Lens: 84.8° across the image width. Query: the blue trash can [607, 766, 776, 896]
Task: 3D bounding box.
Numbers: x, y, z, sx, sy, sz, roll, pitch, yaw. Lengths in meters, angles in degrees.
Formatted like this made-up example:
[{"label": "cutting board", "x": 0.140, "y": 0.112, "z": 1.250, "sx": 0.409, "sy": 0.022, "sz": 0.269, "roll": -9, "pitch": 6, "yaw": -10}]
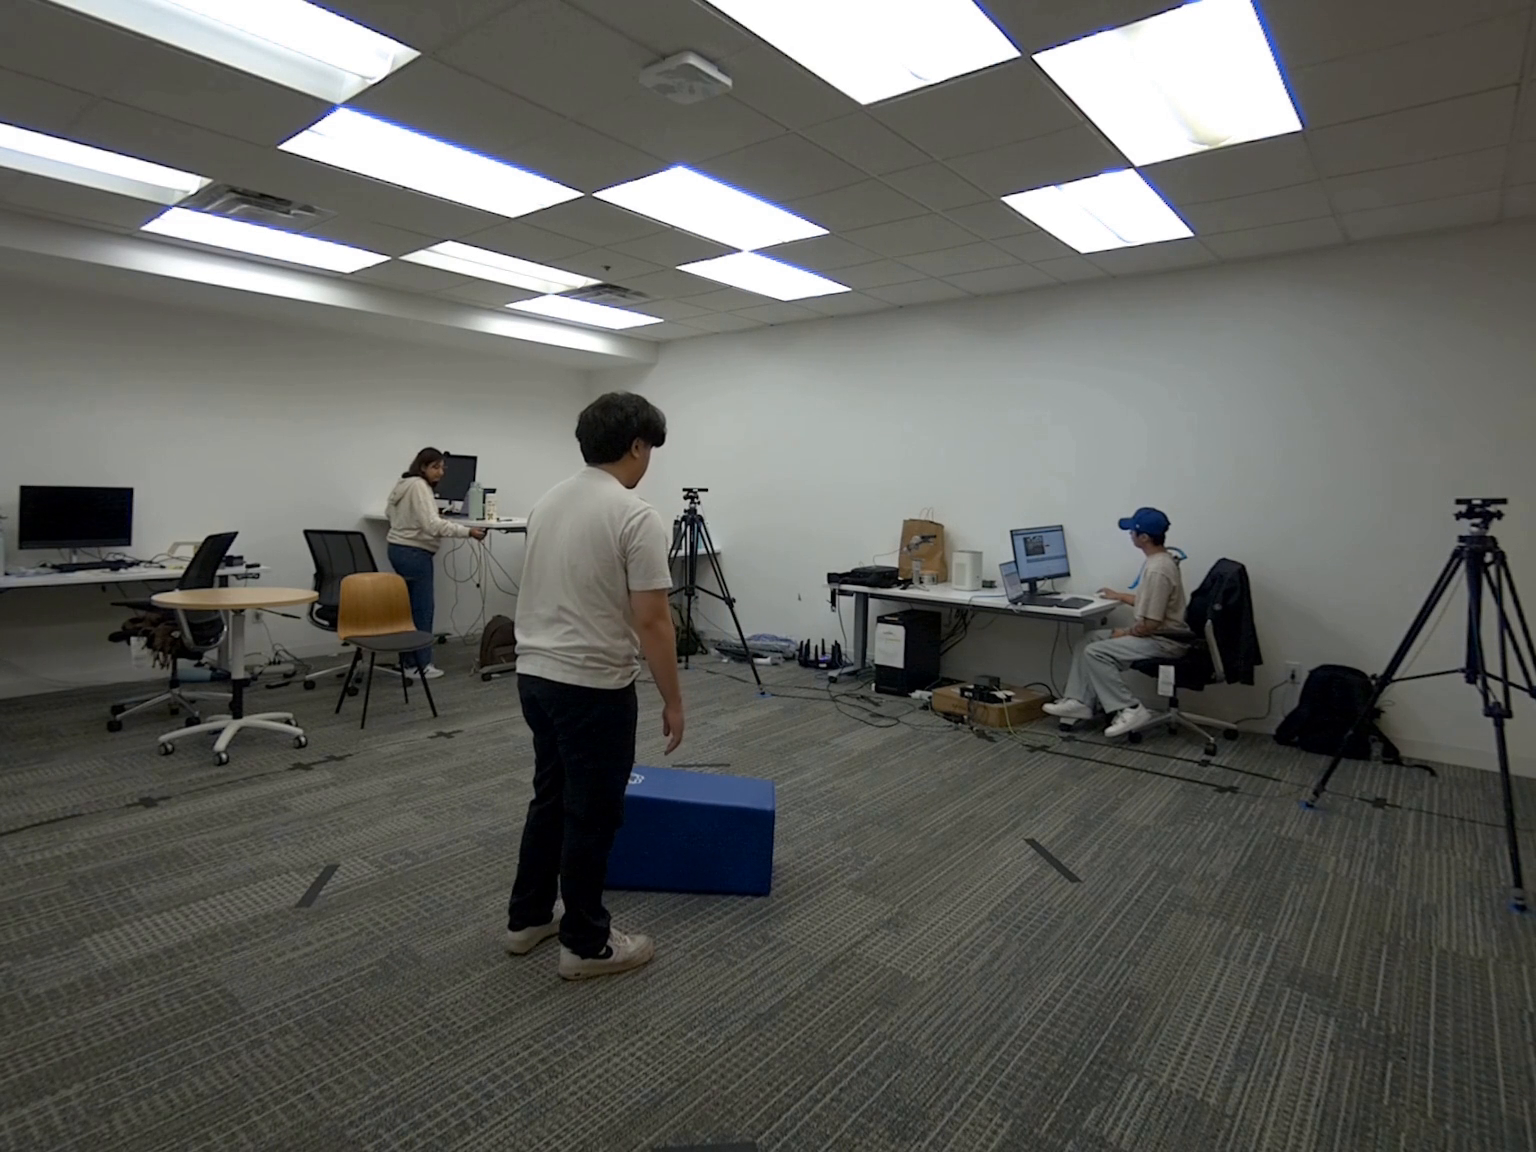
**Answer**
[{"label": "blue trash can", "x": -0.346, "y": 0.905, "z": 3.070, "sx": 0.716, "sy": 0.377, "sz": 0.374, "roll": 4, "pitch": 3, "yaw": 2}]
